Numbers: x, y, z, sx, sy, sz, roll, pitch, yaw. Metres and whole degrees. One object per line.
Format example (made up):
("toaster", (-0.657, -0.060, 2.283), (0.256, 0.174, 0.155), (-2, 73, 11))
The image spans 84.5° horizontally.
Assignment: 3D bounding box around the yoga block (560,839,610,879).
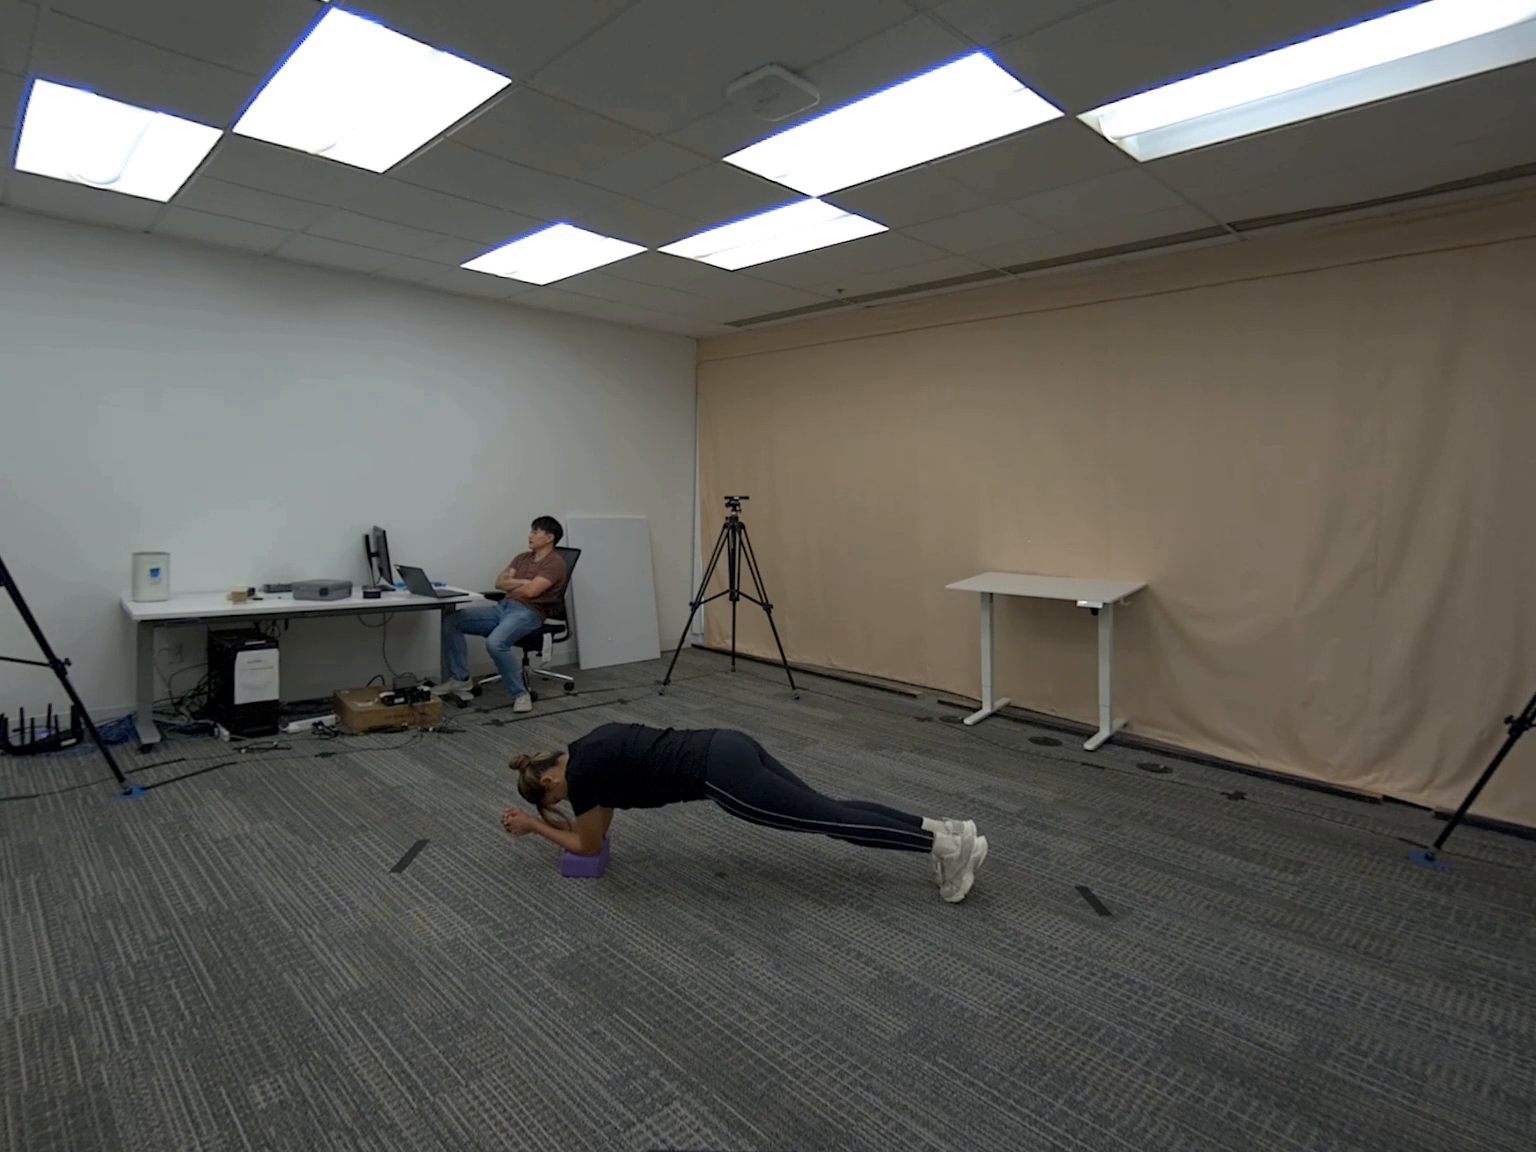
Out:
("yoga block", (-0.686, 1.043, 3.164), (0.149, 0.076, 0.230), (2, 5, 1))
